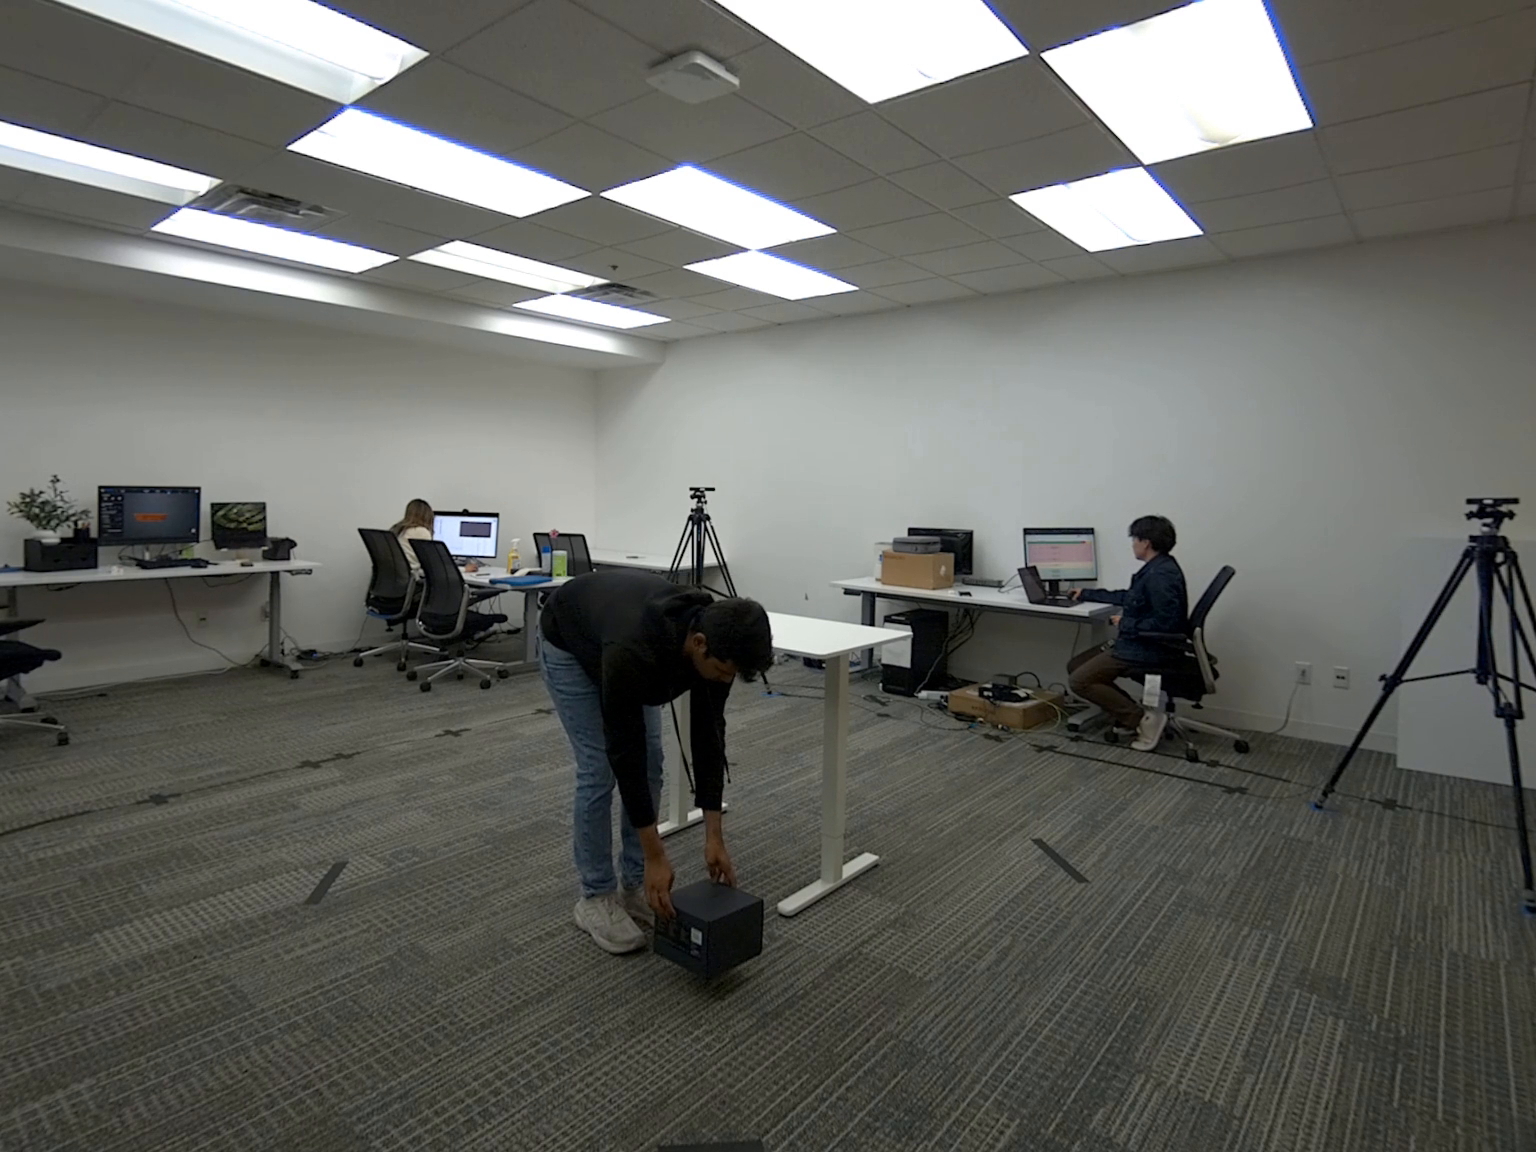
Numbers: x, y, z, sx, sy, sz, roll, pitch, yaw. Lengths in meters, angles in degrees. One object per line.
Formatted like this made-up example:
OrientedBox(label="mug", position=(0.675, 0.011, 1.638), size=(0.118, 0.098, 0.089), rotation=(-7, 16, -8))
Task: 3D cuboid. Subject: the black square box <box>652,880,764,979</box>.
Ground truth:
OrientedBox(label="black square box", position=(-0.176, 0.978, 2.405), size=(0.224, 0.156, 0.220), rotation=(3, 2, 41))
